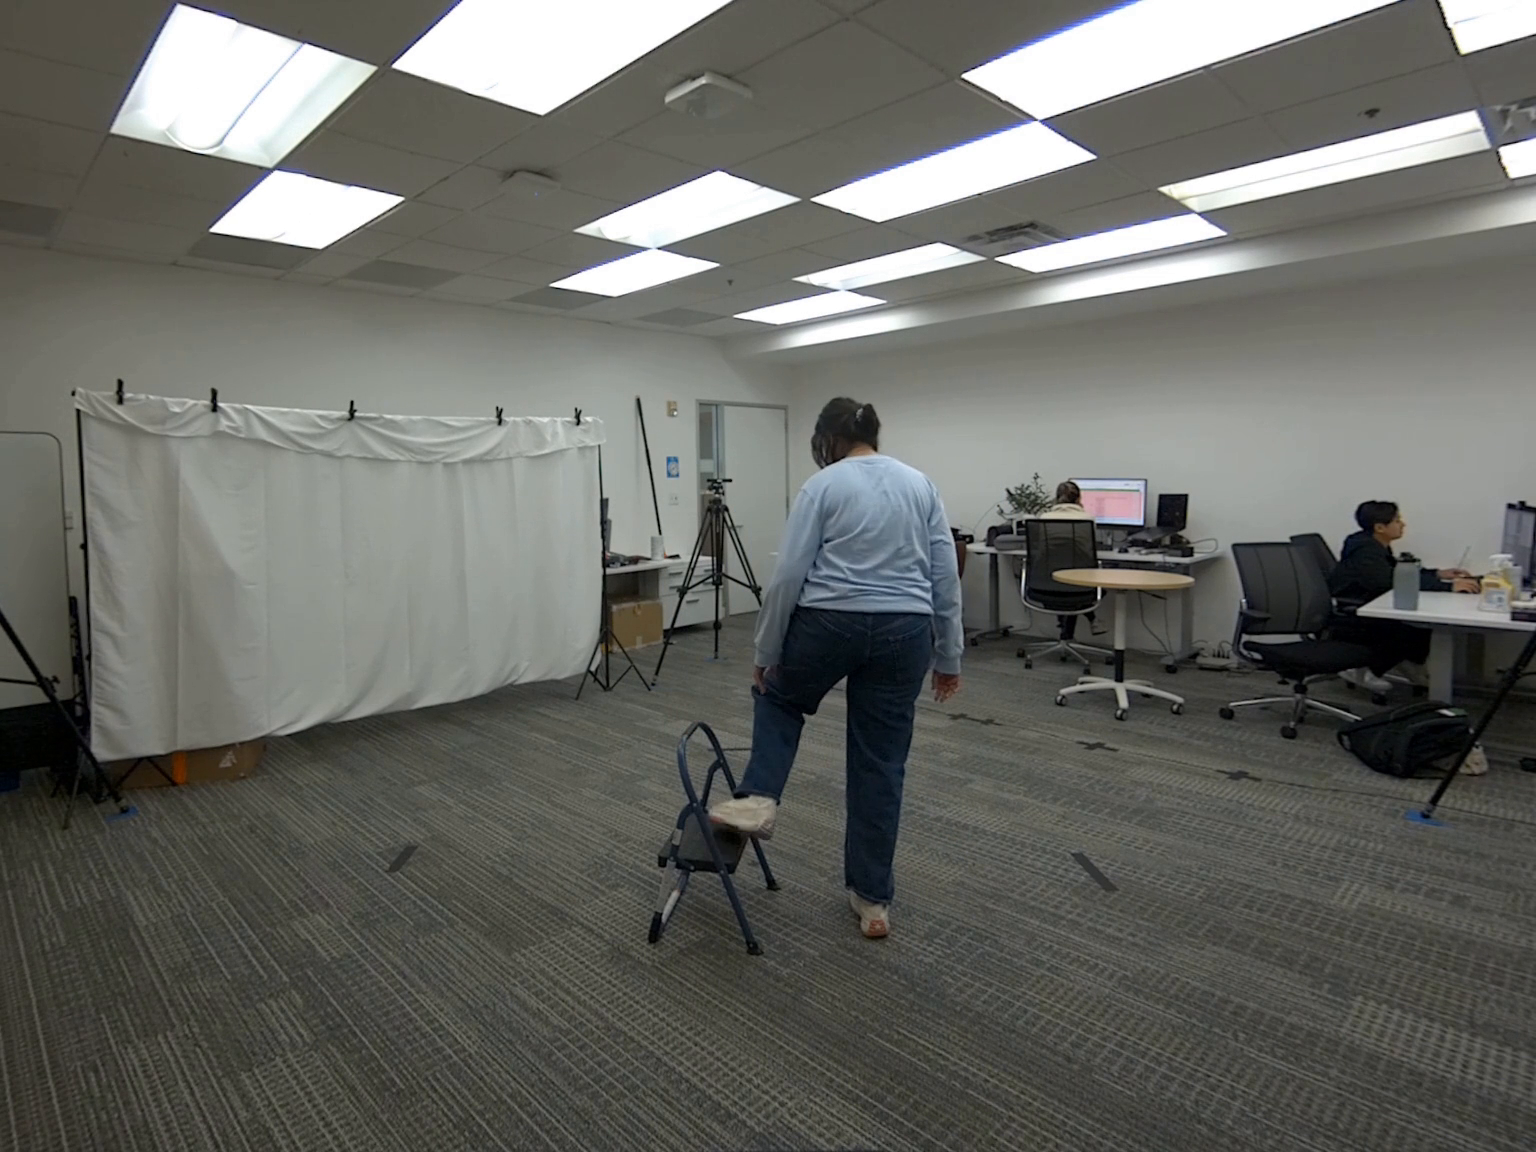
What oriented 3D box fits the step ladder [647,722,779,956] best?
[{"bbox_3d":[-0.165,0.790,2.730,0.353,0.604,0.428,1,5,9],"label":"step ladder"}]
